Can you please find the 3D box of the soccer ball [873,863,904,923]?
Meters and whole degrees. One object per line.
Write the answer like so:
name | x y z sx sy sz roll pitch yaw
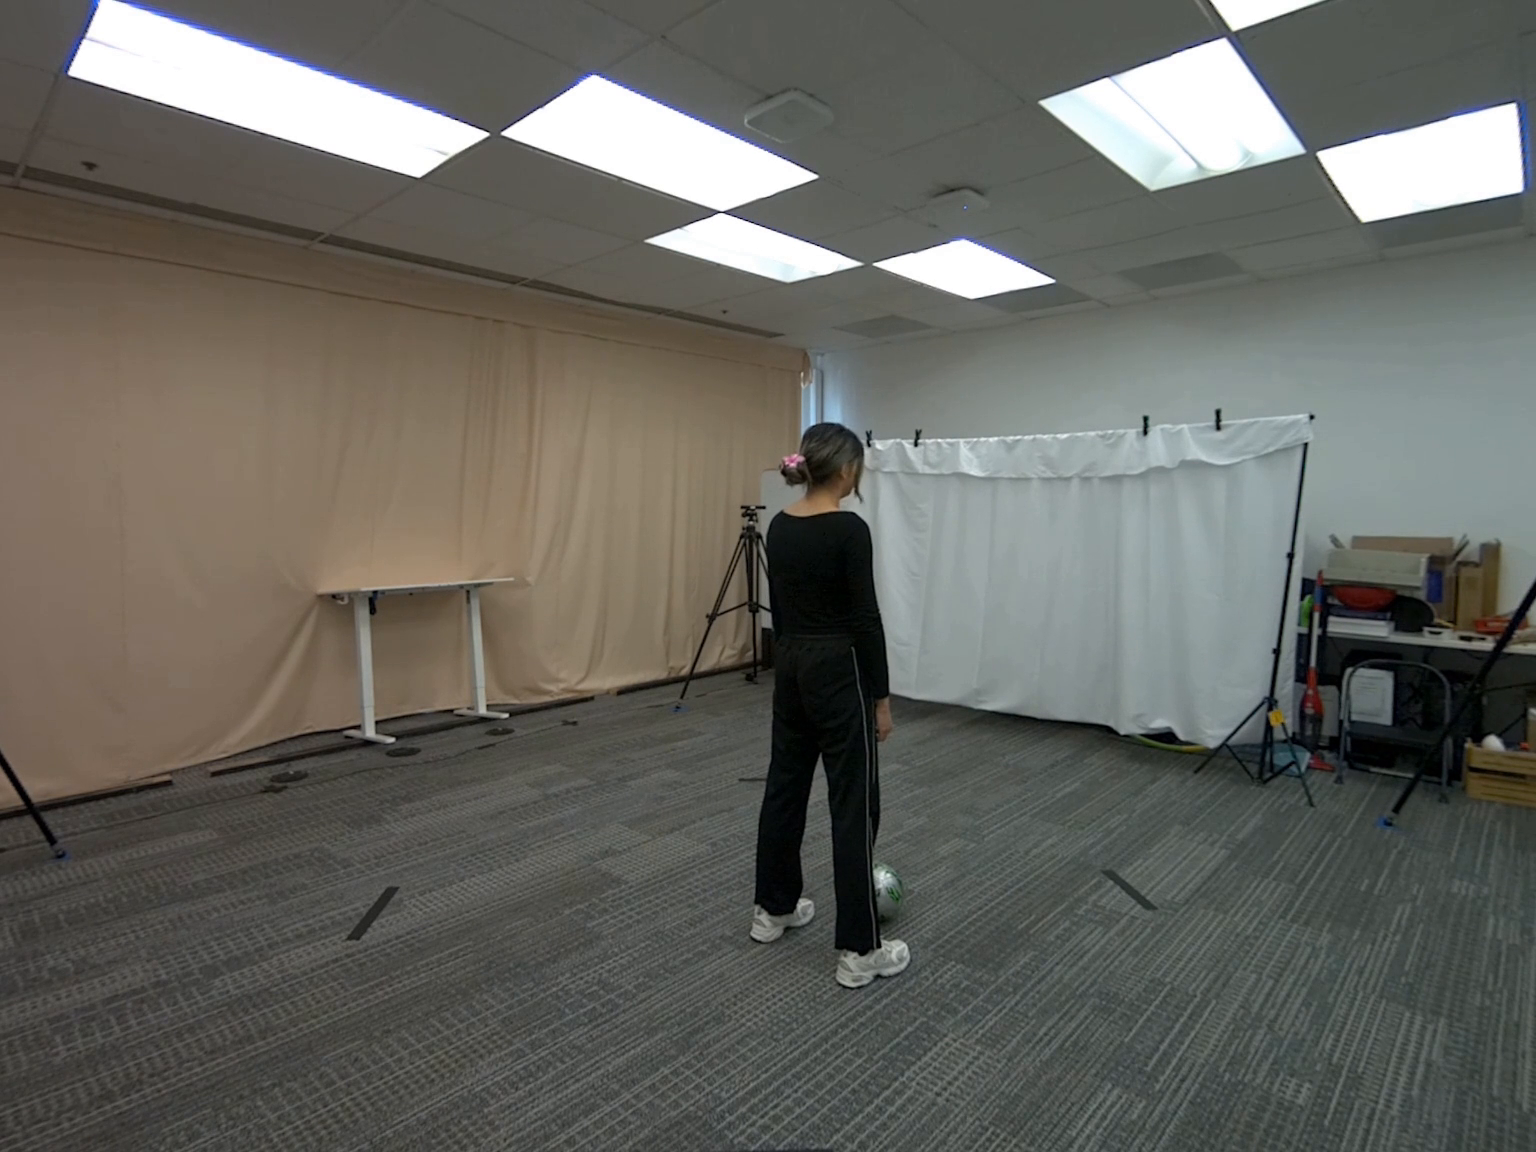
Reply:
soccer ball | 0.372 1.065 2.835 0.187 0.187 0.188 0 4 -2
